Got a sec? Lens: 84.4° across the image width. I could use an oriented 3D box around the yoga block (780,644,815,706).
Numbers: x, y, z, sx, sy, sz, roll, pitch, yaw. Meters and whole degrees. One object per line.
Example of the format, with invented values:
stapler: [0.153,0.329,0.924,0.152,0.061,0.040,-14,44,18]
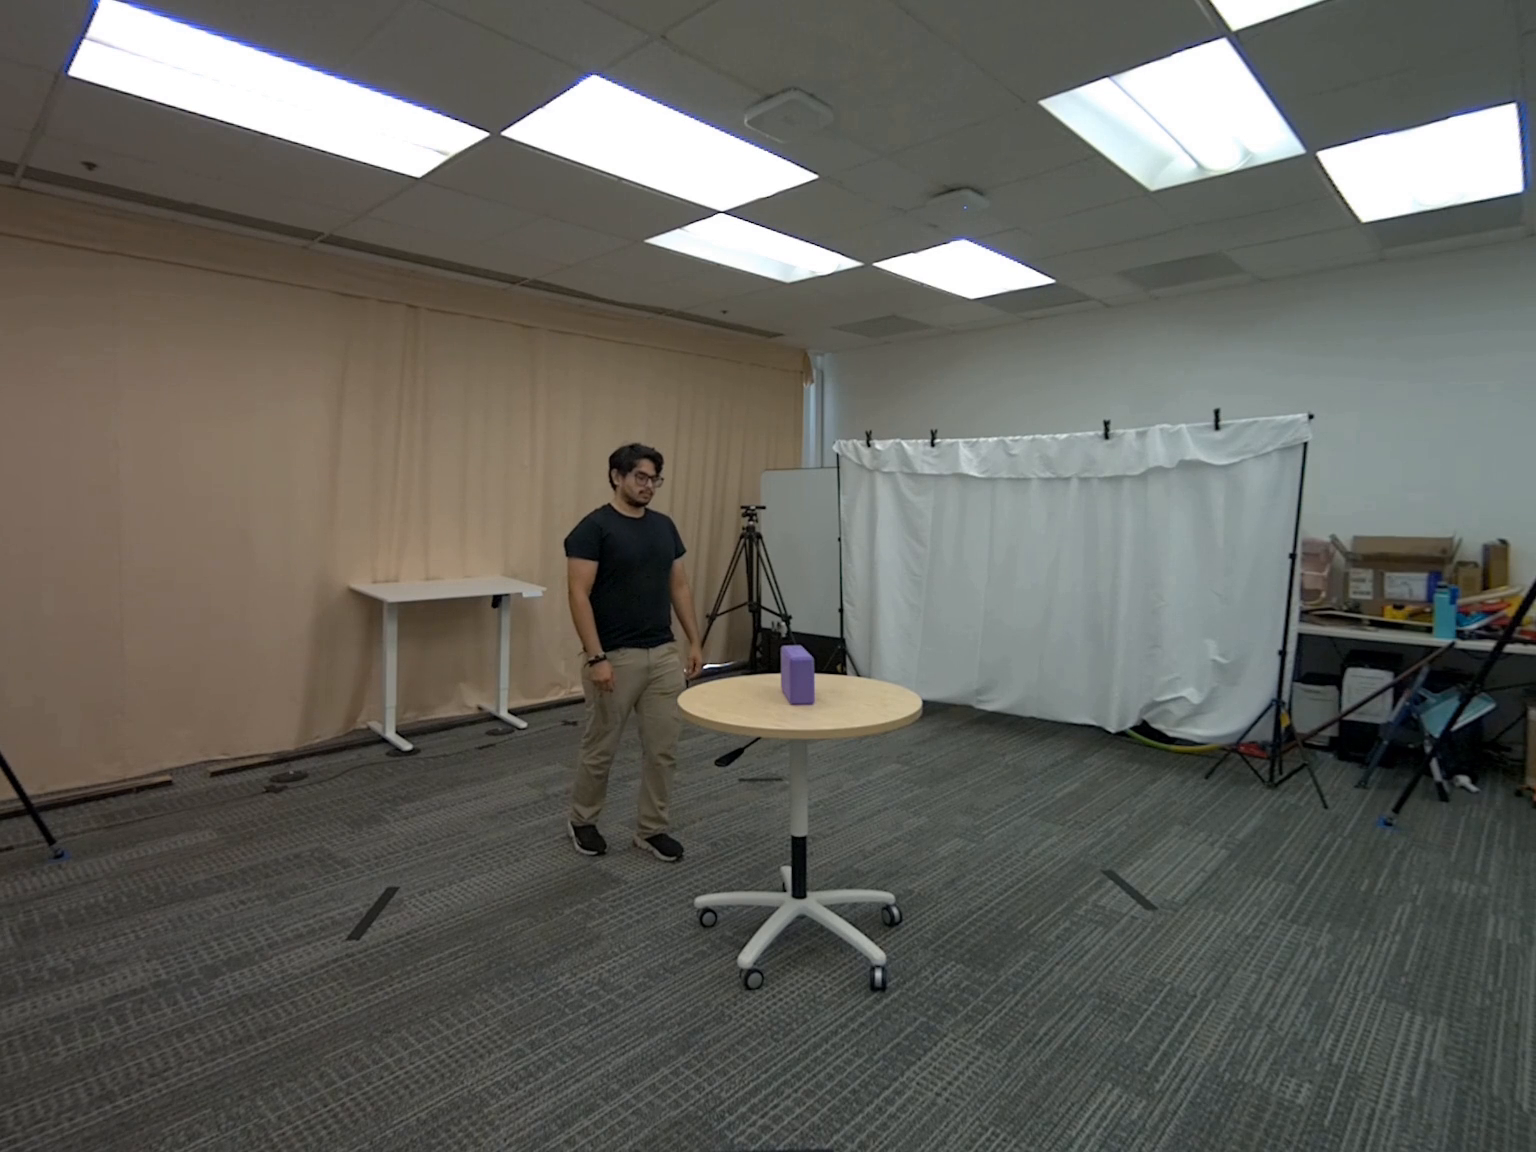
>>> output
yoga block: [0.097,0.312,2.666,0.076,0.149,0.231,1,4,-5]
